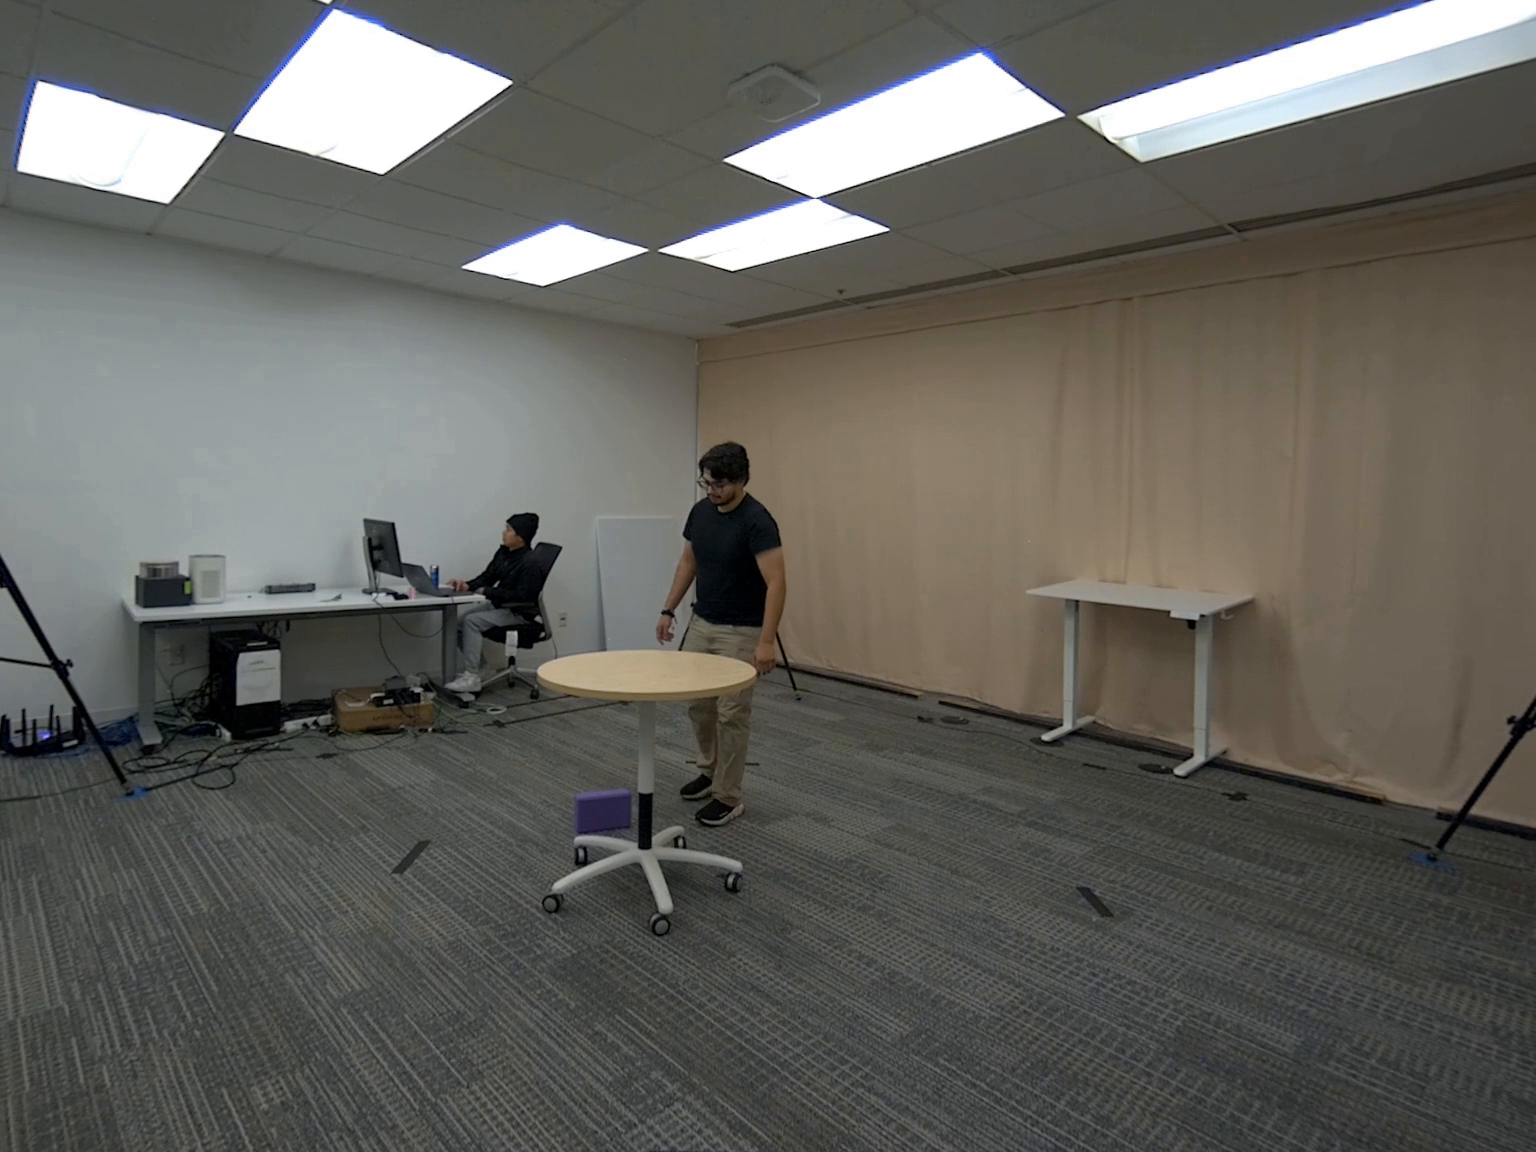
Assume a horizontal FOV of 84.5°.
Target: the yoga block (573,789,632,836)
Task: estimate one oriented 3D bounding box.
[{"bbox_3d":[-0.701,0.980,3.526,0.226,0.148,0.078,-1,5,-21],"label":"yoga block"}]
